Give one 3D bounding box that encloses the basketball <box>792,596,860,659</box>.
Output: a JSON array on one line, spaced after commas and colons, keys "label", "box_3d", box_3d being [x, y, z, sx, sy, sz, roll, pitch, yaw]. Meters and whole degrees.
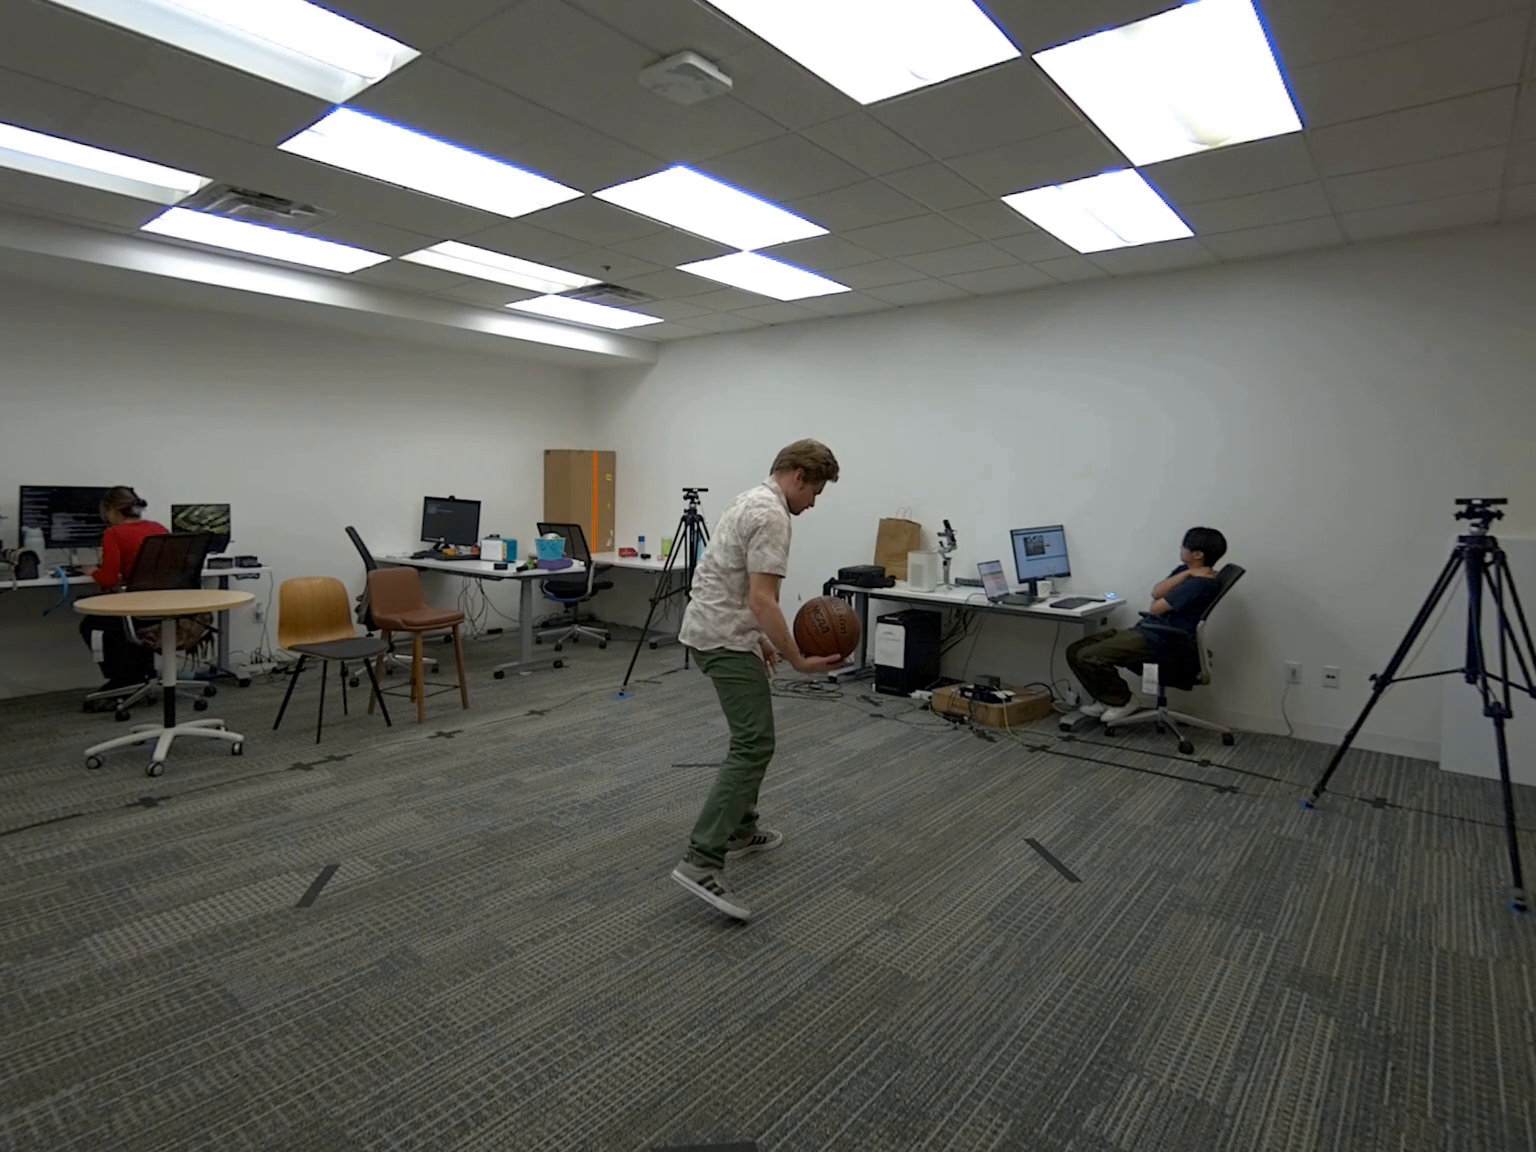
[{"label": "basketball", "box_3d": [0.202, 0.192, 2.994, 0.235, 0.235, 0.237, 1, 4, -2]}]
